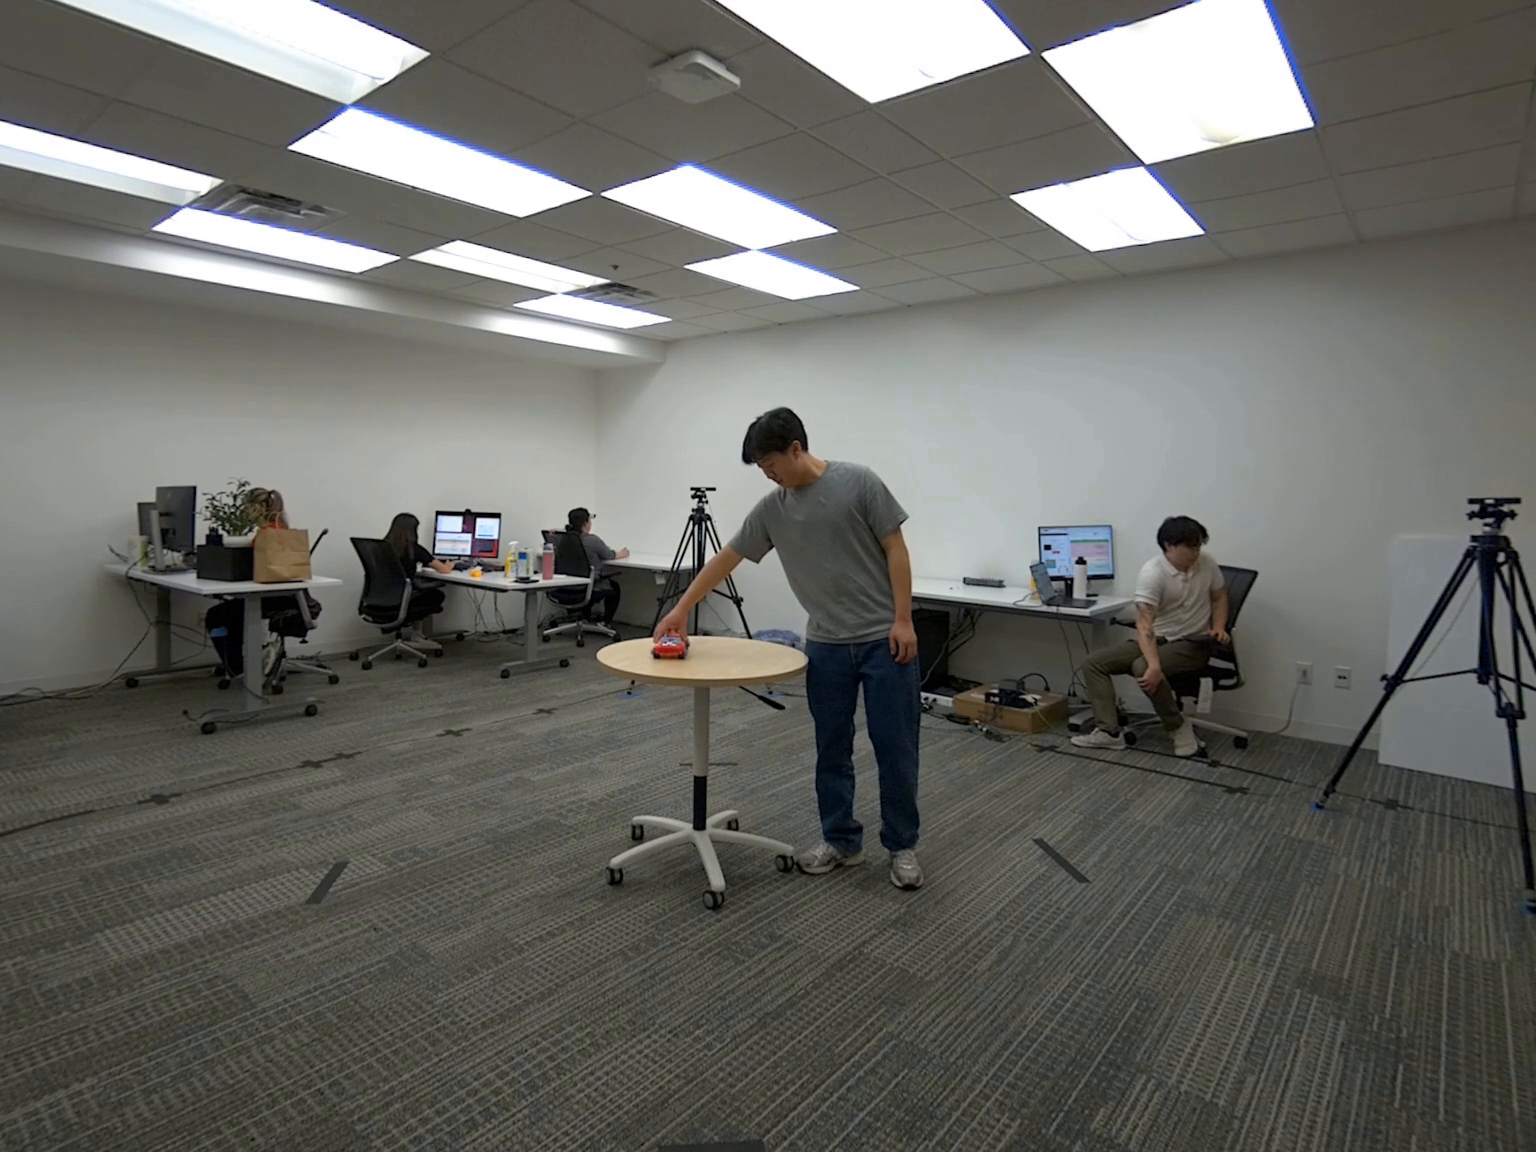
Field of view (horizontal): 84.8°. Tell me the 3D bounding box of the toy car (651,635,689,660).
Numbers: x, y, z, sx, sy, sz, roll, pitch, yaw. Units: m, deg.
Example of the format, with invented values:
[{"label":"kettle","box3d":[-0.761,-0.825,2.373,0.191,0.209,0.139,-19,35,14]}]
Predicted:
[{"label":"toy car","box3d":[-0.360,0.242,3.115,0.130,0.082,0.256,-1,11,1]}]
